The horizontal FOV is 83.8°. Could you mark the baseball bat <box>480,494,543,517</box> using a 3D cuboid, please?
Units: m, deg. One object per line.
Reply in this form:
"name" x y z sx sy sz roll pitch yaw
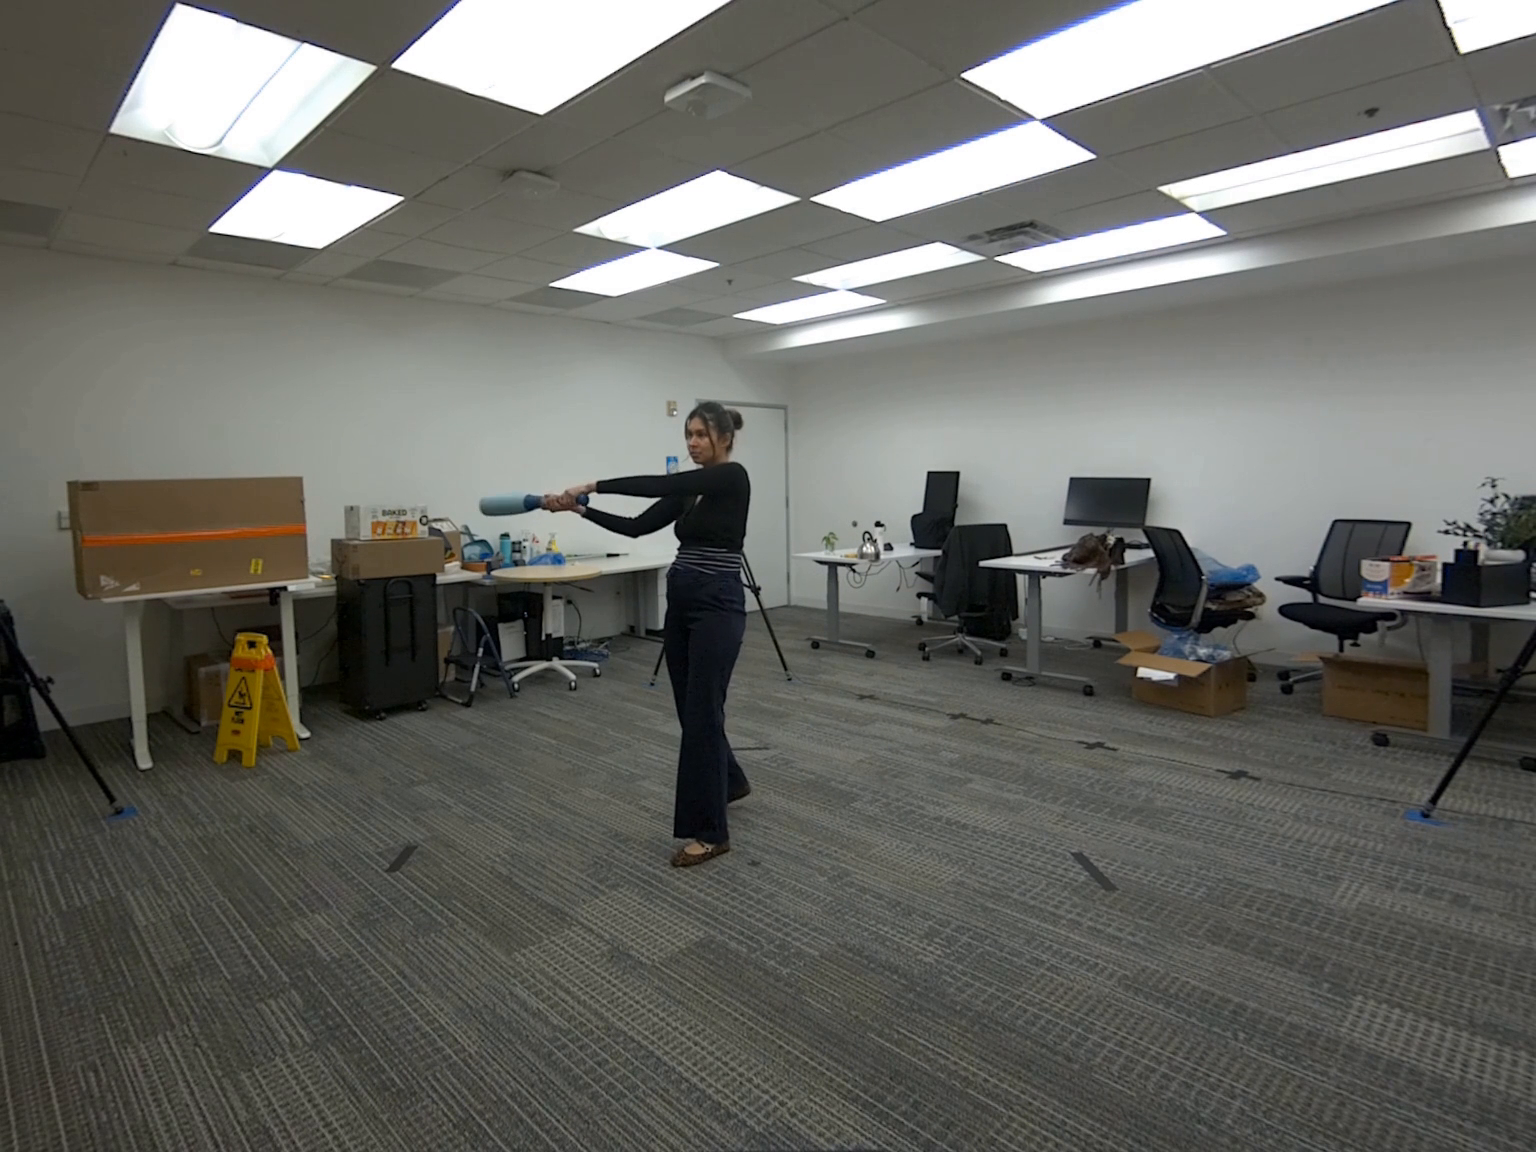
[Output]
"baseball bat" -0.868 -0.298 3.349 0.557 0.089 0.087 0 4 32
